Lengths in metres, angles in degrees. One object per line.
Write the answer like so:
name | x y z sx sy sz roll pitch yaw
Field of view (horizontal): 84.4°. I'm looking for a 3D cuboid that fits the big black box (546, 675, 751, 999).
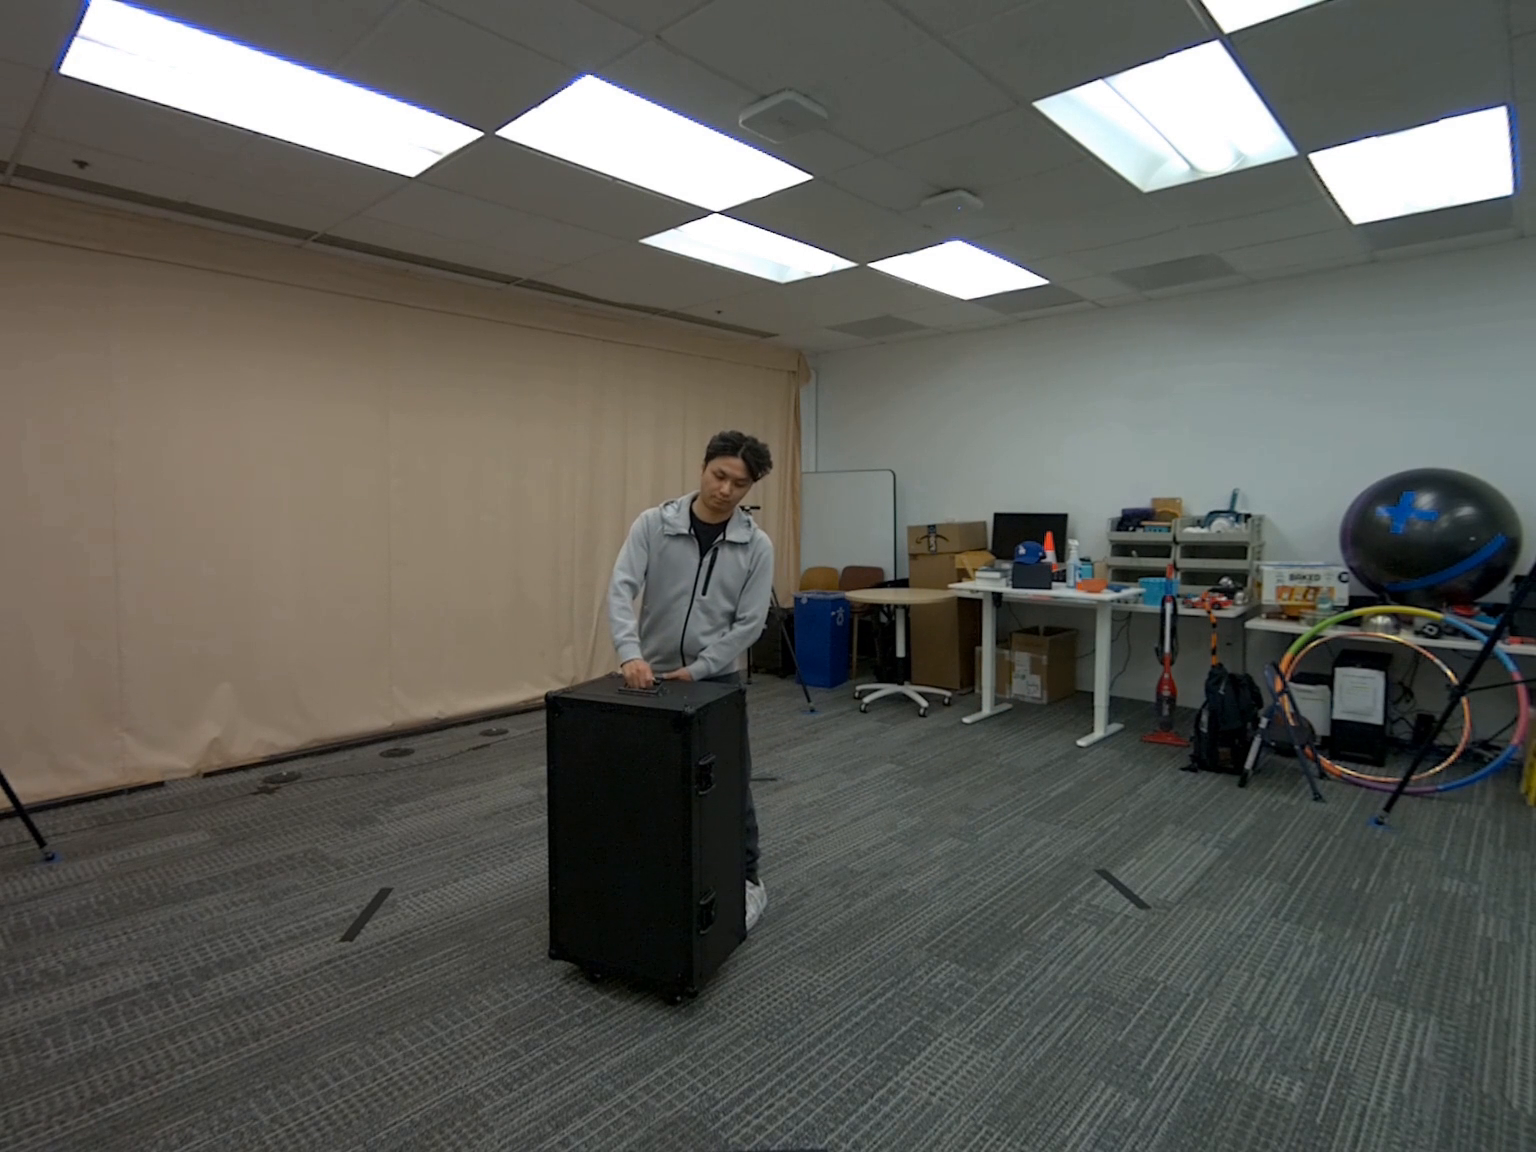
big black box | -0.356 0.756 2.515 0.535 0.860 0.387 1 2 25
